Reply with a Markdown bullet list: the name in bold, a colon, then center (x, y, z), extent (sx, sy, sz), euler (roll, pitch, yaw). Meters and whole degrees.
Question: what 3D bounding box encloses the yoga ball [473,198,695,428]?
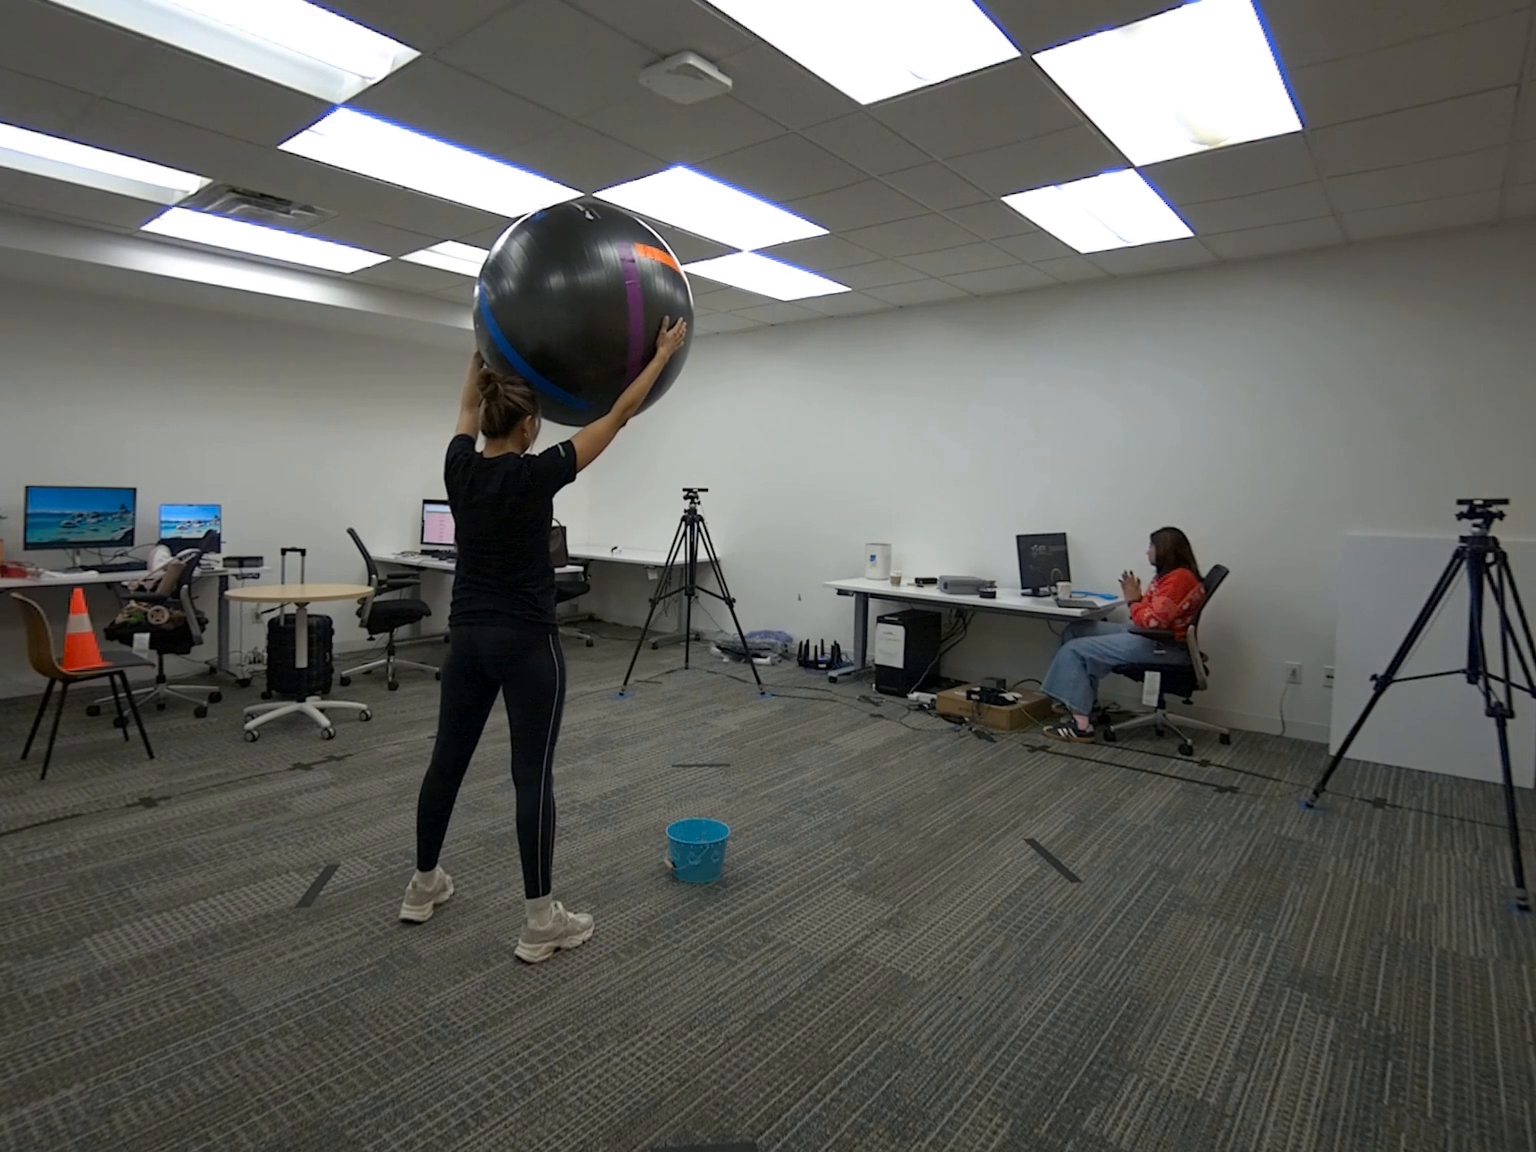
- **yoga ball**: center (-0.645, -0.889, 2.958), extent (0.757, 0.756, 0.762), euler (1, 4, -2)
